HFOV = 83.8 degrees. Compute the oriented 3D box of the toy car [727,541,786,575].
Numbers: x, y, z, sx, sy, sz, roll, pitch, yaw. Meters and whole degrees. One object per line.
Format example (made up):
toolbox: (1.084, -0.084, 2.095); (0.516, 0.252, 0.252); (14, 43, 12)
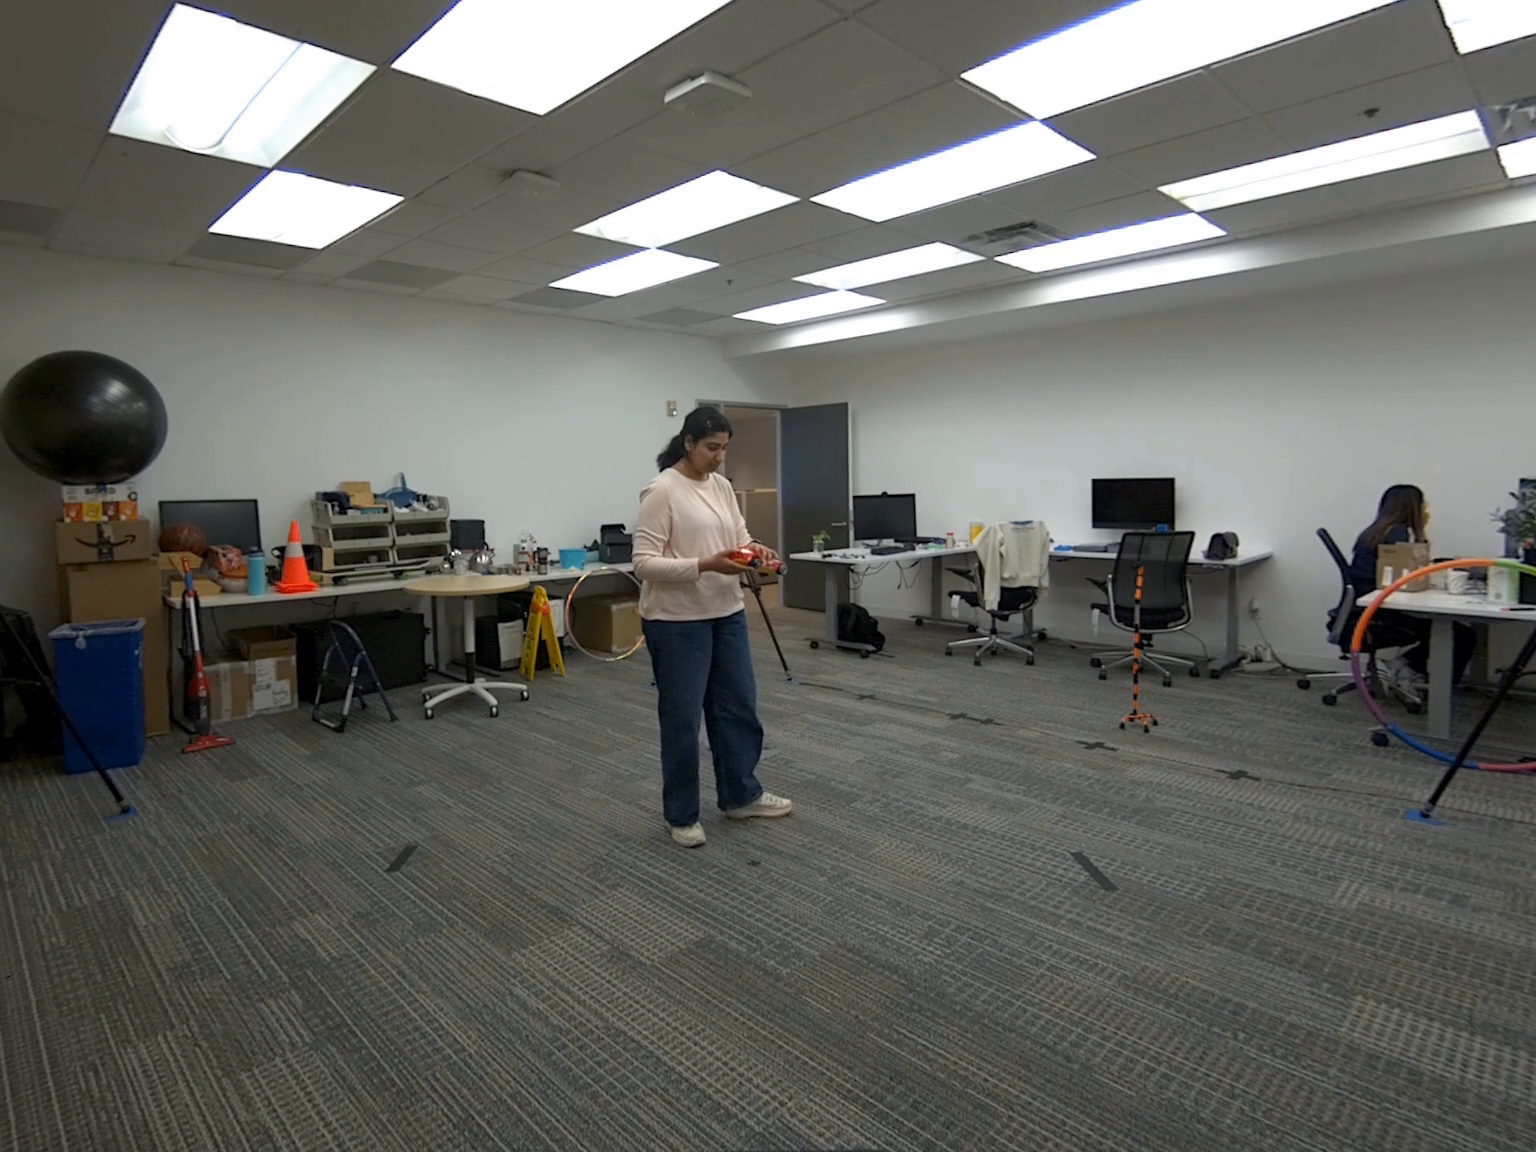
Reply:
toy car: (-0.053, -0.045, 3.138); (0.133, 0.084, 0.245); (-7, -26, 45)
